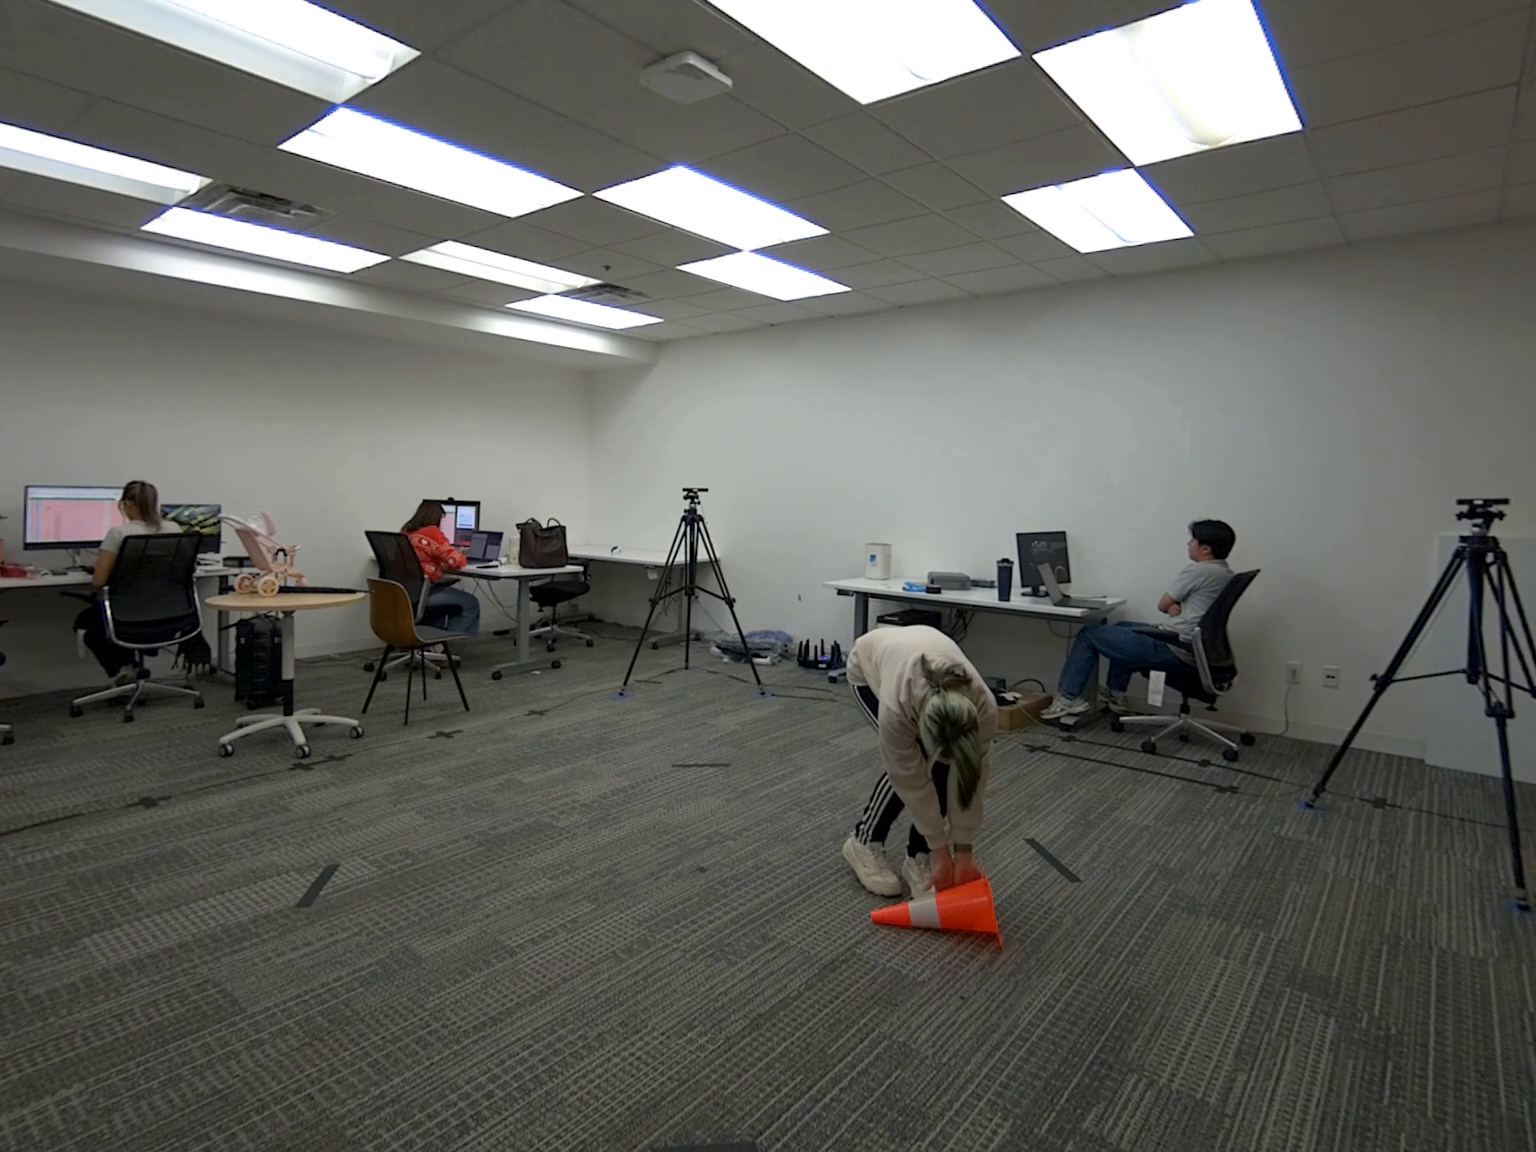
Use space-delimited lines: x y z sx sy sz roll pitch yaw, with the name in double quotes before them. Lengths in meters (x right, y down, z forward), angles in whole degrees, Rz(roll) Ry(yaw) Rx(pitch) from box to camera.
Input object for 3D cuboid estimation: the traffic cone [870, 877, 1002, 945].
"traffic cone" 0.517 1.072 2.729 0.387 0.203 0.203 -12 8 11
